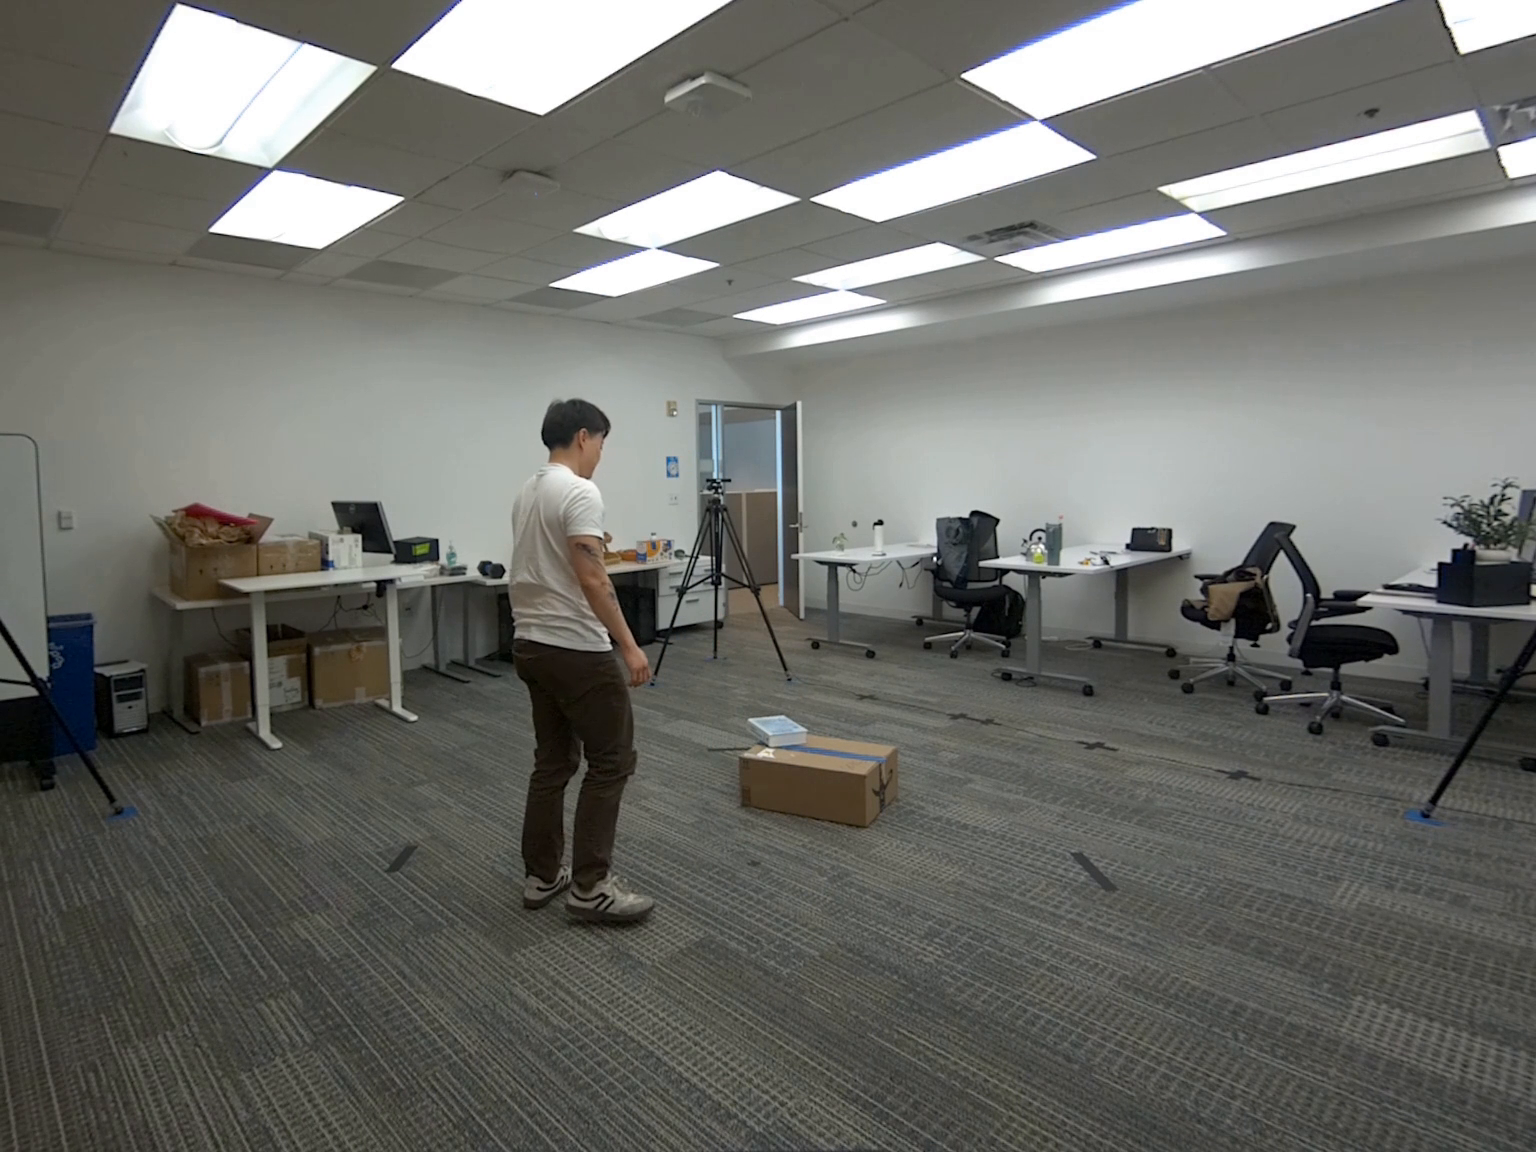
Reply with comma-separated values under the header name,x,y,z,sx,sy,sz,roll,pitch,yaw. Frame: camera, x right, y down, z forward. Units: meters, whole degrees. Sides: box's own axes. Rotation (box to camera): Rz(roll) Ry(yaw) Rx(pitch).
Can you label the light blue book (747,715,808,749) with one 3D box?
name,x,y,z,sx,sy,sz,roll,pitch,yaw
light blue book,0.041,0.707,3.906,0.187,0.059,0.267,-2,6,-23
